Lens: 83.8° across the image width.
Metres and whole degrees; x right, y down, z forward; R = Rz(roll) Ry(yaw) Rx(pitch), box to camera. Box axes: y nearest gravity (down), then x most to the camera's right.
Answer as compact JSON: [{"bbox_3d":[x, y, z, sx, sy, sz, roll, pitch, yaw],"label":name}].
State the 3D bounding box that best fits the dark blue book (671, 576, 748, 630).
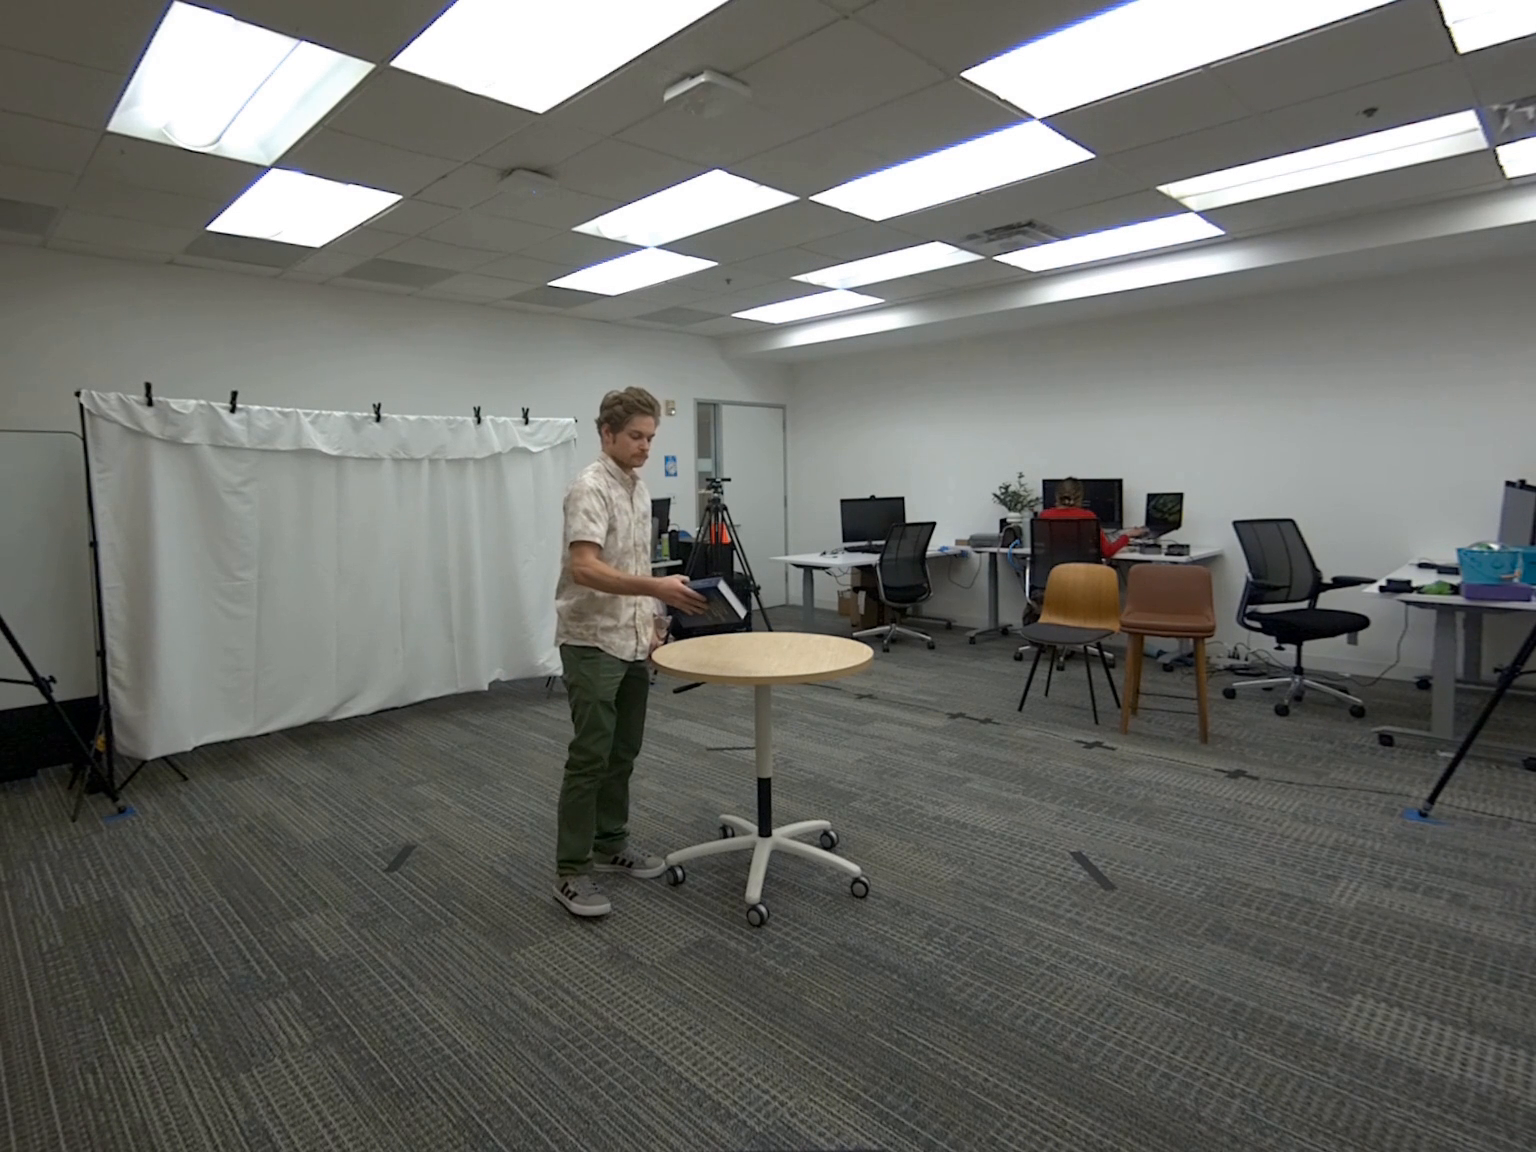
[{"bbox_3d":[-0.200,0.084,2.659,0.251,0.158,0.045,-10,38,37],"label":"dark blue book"}]
